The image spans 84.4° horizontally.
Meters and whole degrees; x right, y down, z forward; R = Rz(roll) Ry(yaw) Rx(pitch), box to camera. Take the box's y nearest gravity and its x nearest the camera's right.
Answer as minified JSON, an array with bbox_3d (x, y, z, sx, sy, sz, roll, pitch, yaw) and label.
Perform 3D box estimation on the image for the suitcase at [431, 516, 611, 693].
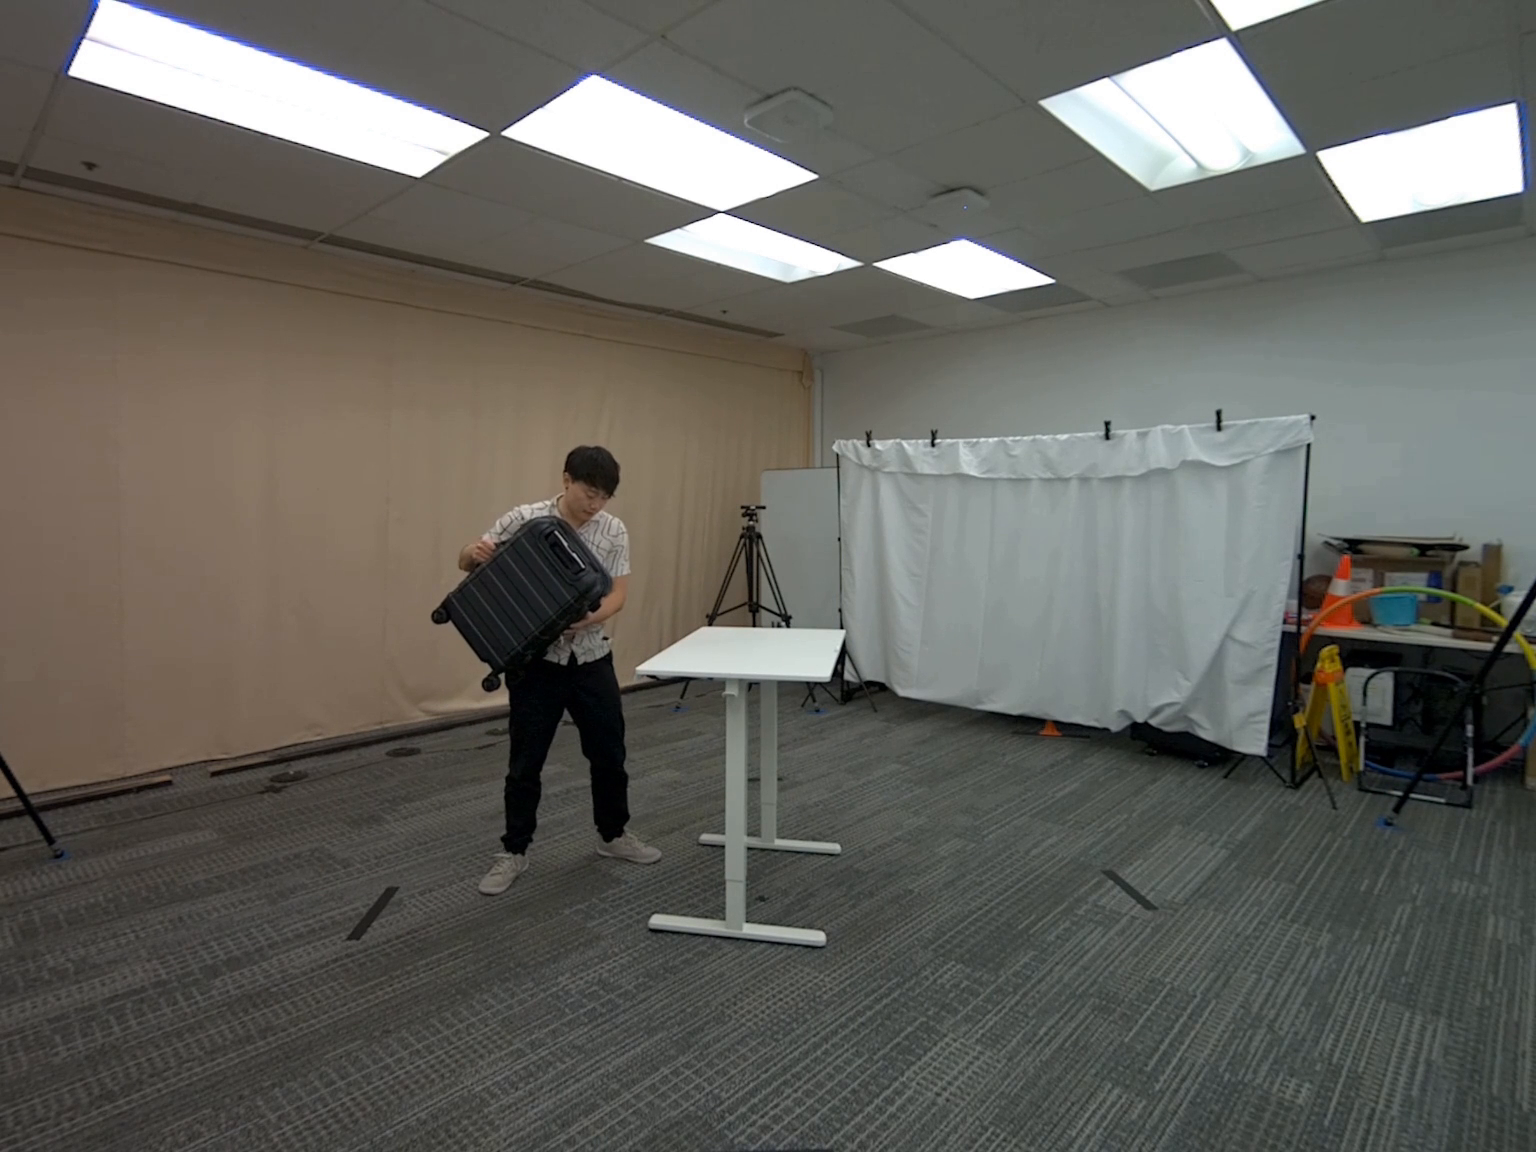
[{"bbox_3d":[-0.834,0.063,2.920,0.550,0.379,0.245,-42,-8,6],"label":"suitcase"}]
